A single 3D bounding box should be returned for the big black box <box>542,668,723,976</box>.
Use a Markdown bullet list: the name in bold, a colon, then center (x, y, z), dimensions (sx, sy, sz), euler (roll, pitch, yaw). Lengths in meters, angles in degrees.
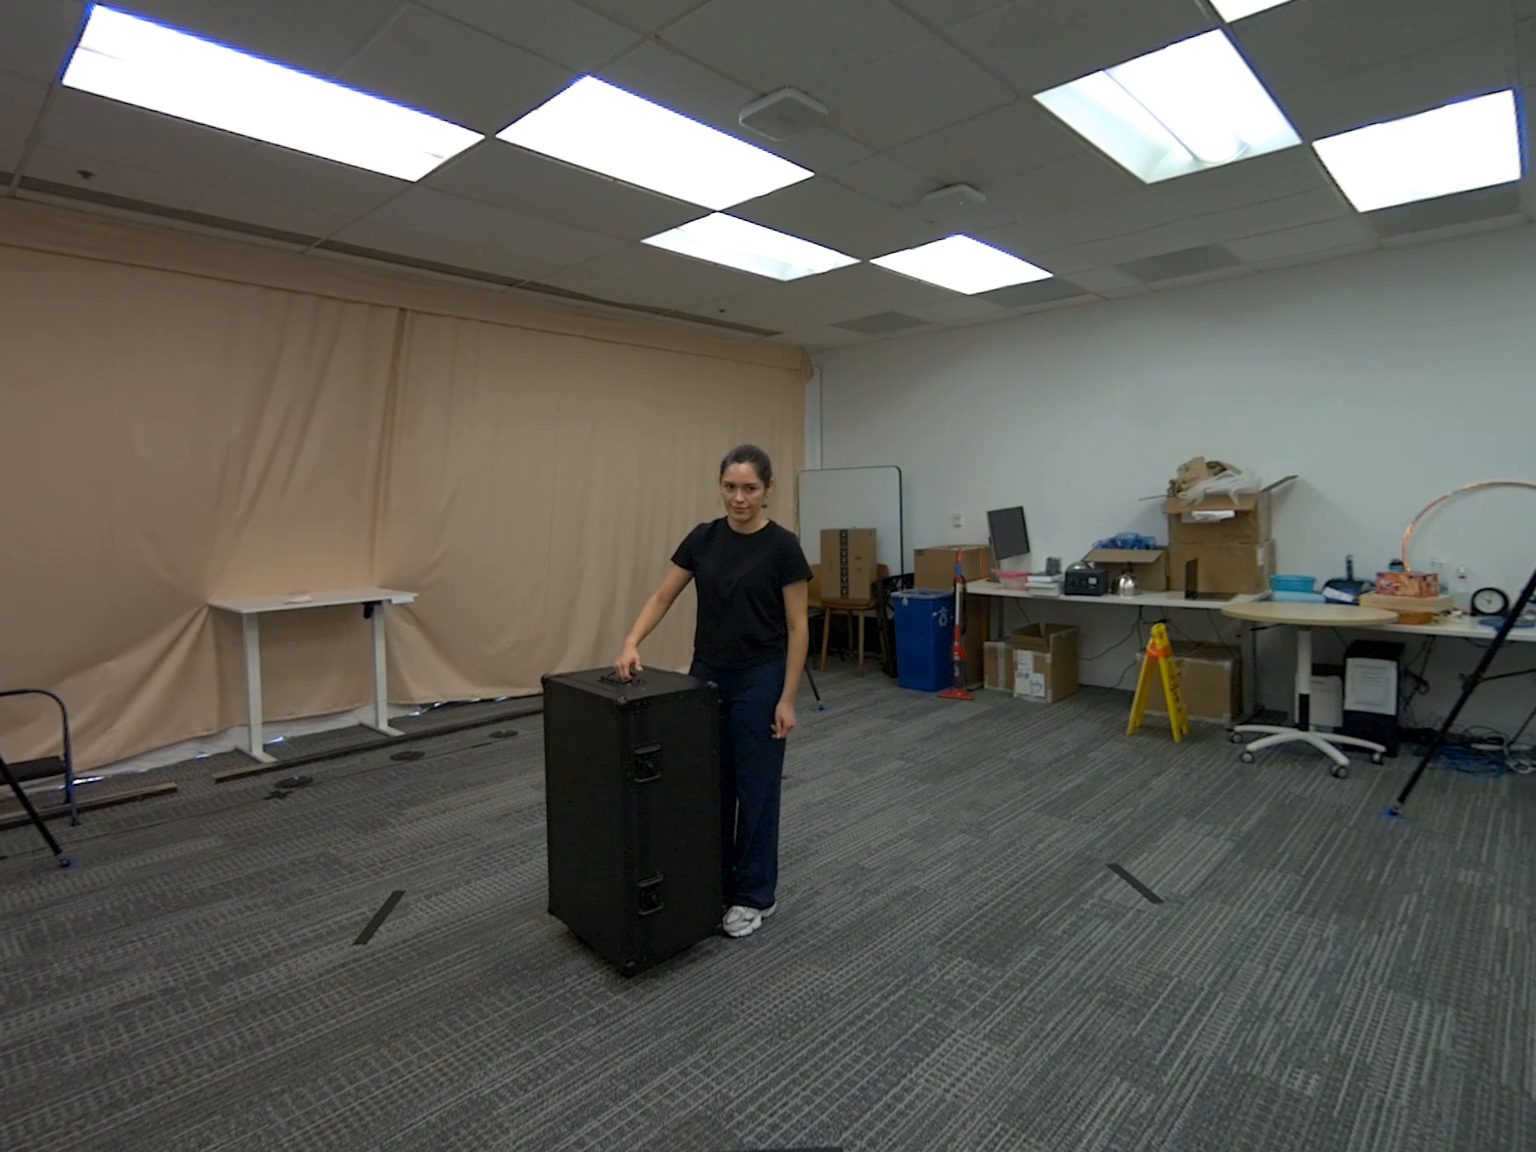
- **big black box**: center (-0.408, 0.690, 2.668), dimensions (0.384, 0.860, 0.538), euler (-3, 3, -41)
